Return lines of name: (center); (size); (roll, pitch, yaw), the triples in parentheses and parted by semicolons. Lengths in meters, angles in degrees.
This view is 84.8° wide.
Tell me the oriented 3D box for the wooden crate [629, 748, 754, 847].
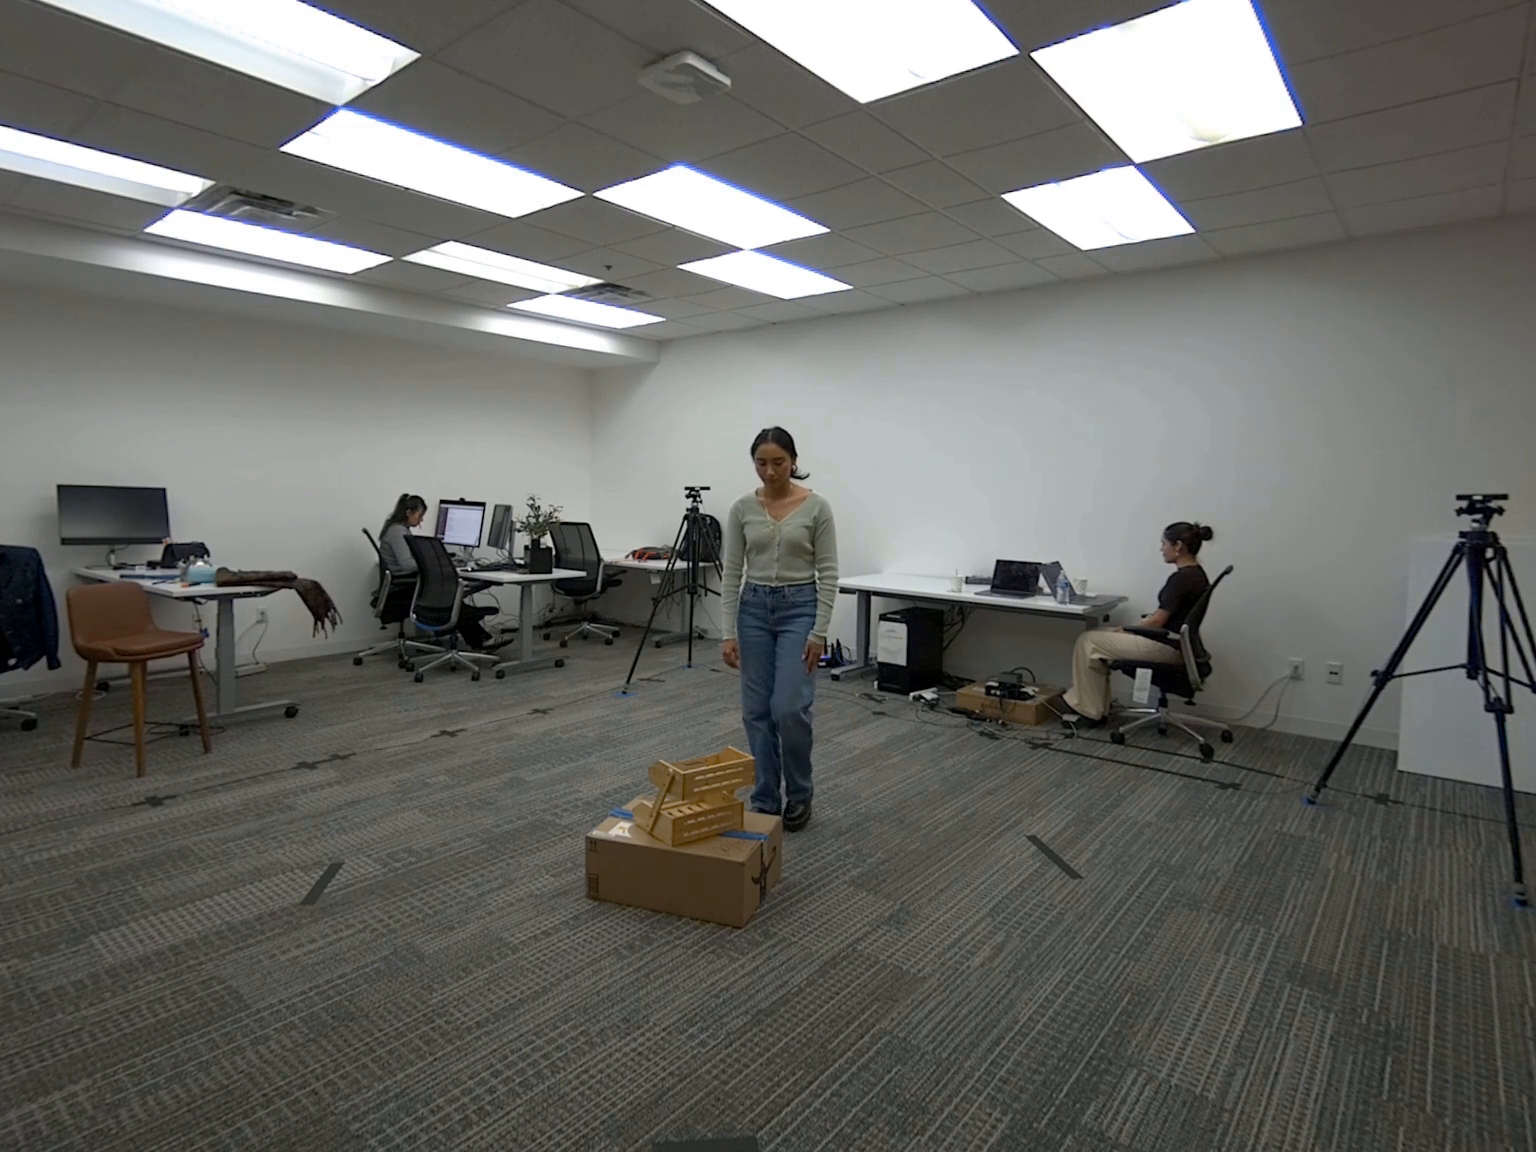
wooden crate: (-0.269, 0.734, 2.941); (0.315, 0.272, 0.312); (-2, 6, -39)
